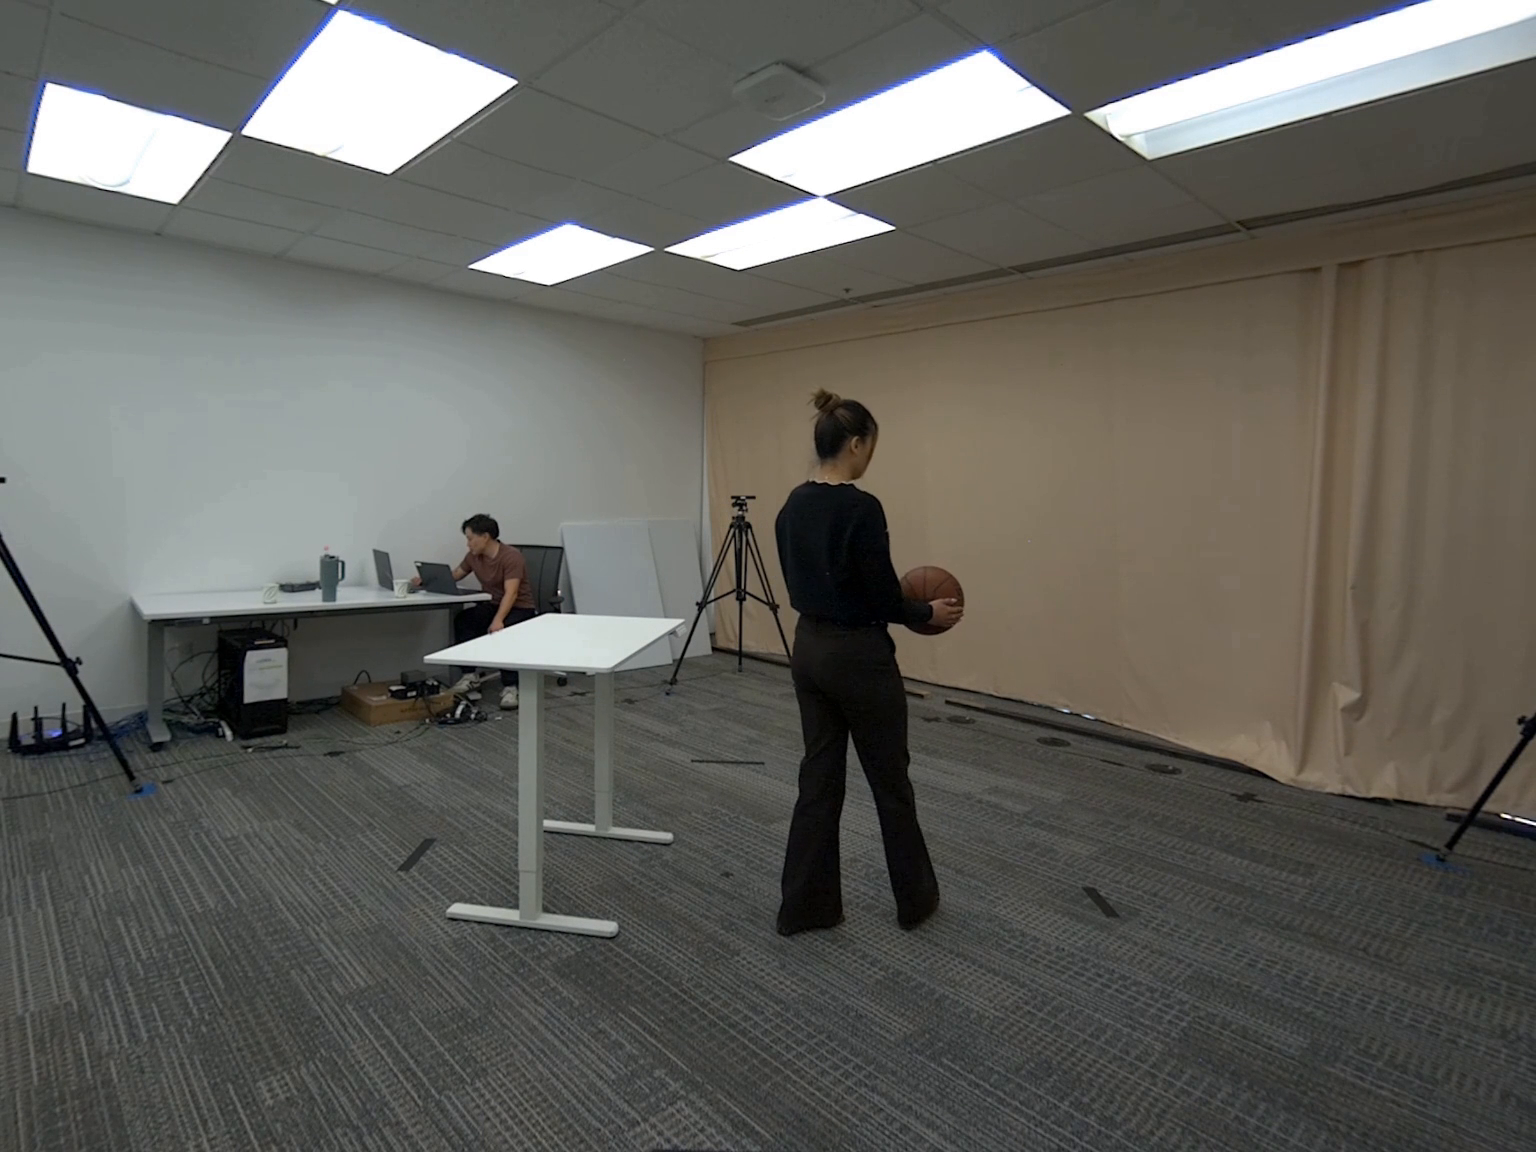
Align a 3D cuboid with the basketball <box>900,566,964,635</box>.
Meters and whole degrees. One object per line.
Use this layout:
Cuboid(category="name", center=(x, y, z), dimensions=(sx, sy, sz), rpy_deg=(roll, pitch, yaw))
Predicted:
Cuboid(category="basketball", center=(0.540, 0.084, 2.865), dimensions=(0.236, 0.235, 0.237), rpy_deg=(1, 4, -1))
